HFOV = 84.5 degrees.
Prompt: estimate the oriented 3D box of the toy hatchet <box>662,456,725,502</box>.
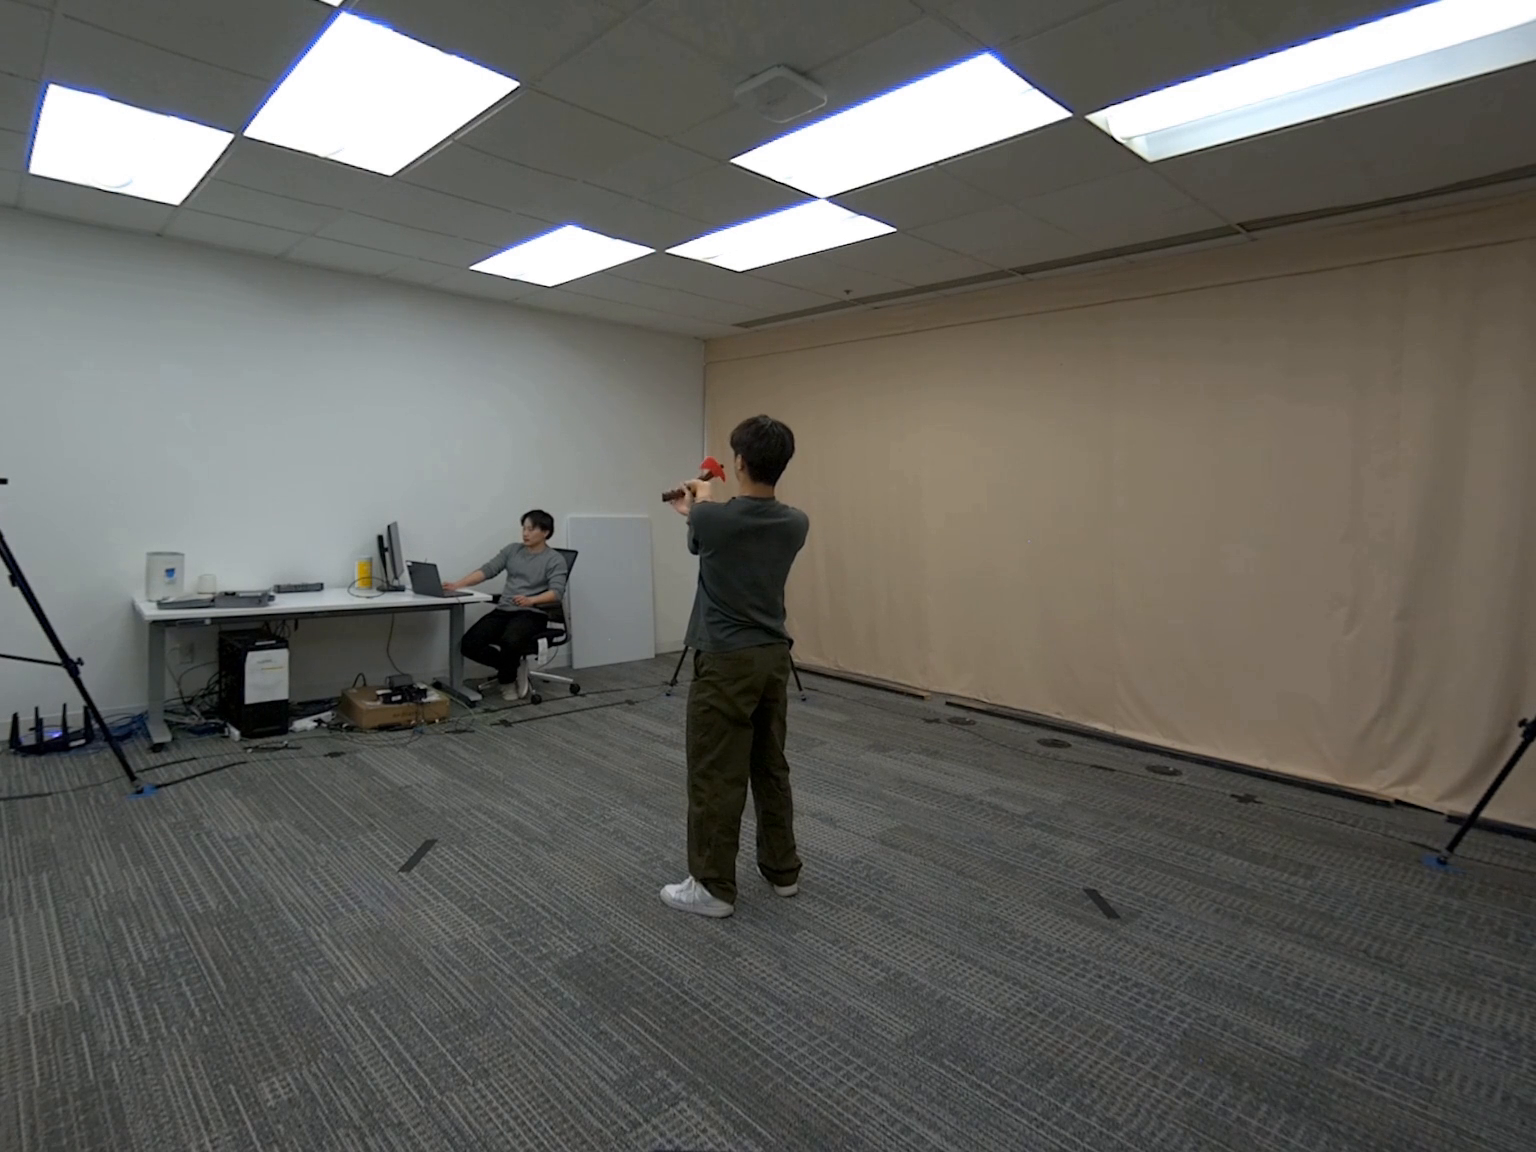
[{"bbox_3d":[-0.306,-0.385,3.272,0.268,0.128,0.030,-19,38,-12],"label":"toy hatchet"}]
